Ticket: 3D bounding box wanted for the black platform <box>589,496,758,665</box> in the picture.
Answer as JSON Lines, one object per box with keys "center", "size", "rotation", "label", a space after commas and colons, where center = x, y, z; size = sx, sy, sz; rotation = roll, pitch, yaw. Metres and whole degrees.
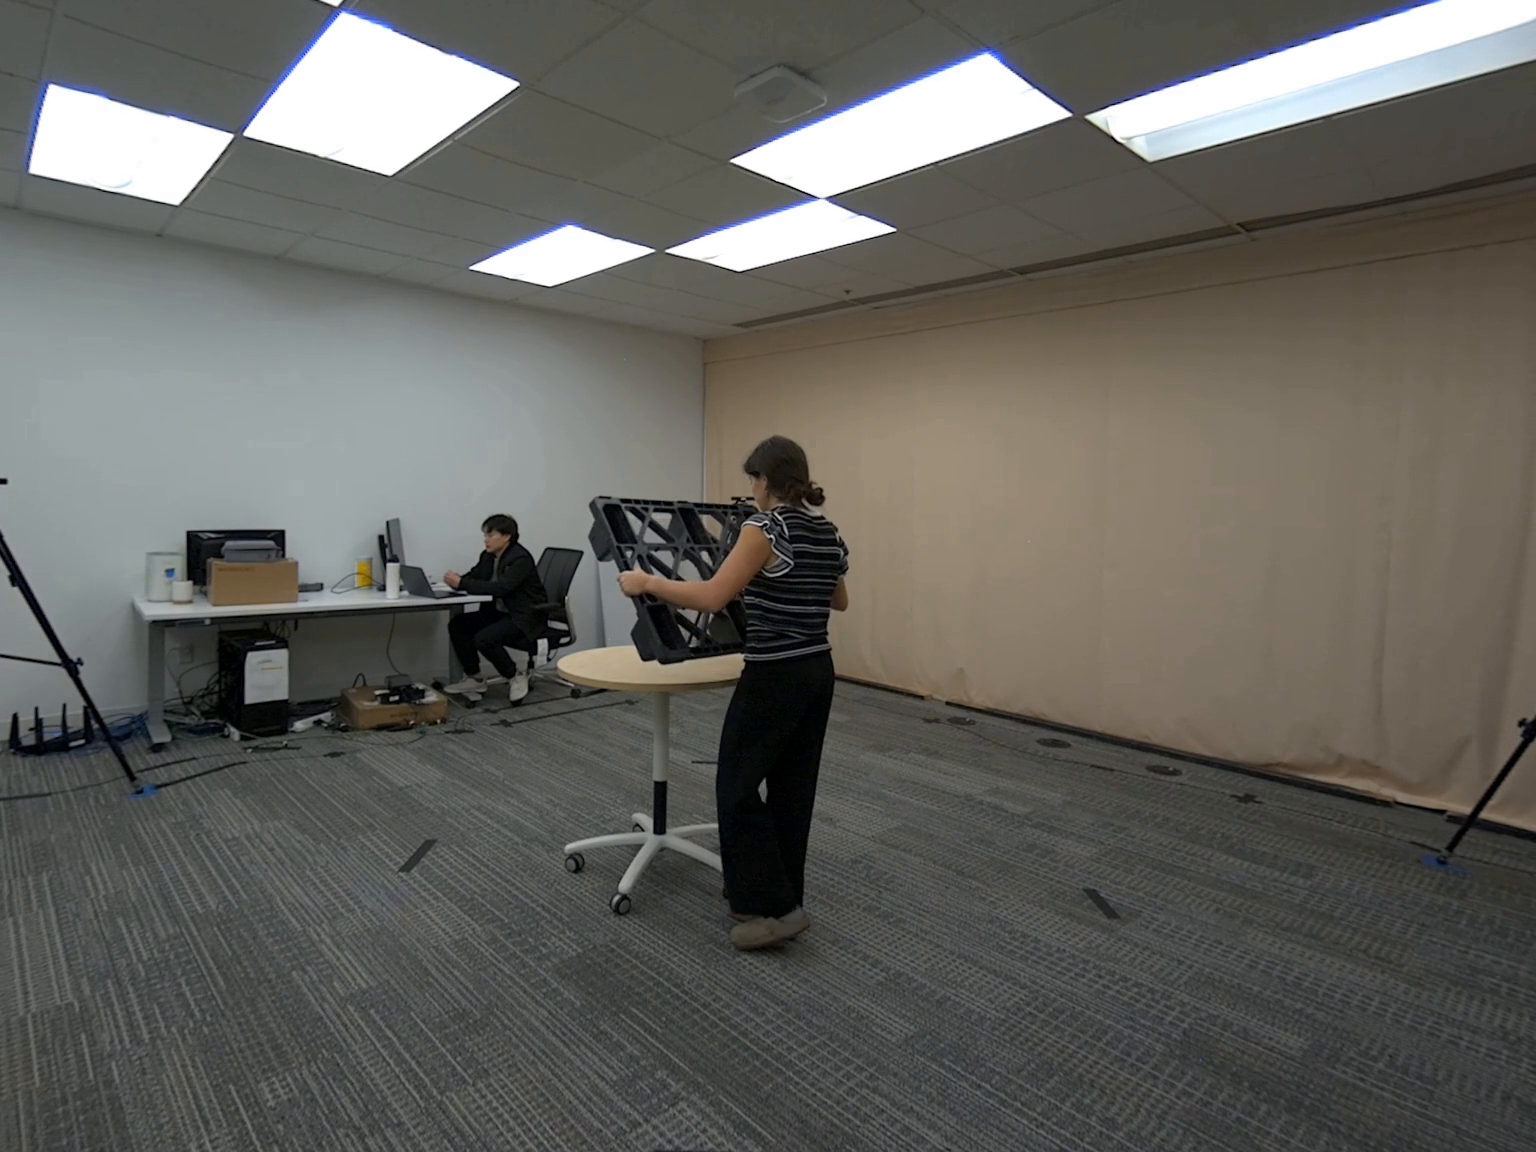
{"center": [-0.214, 0.018, 2.880], "size": [0.787, 0.618, 0.143], "rotation": [-1, -34, -48], "label": "black platform"}
